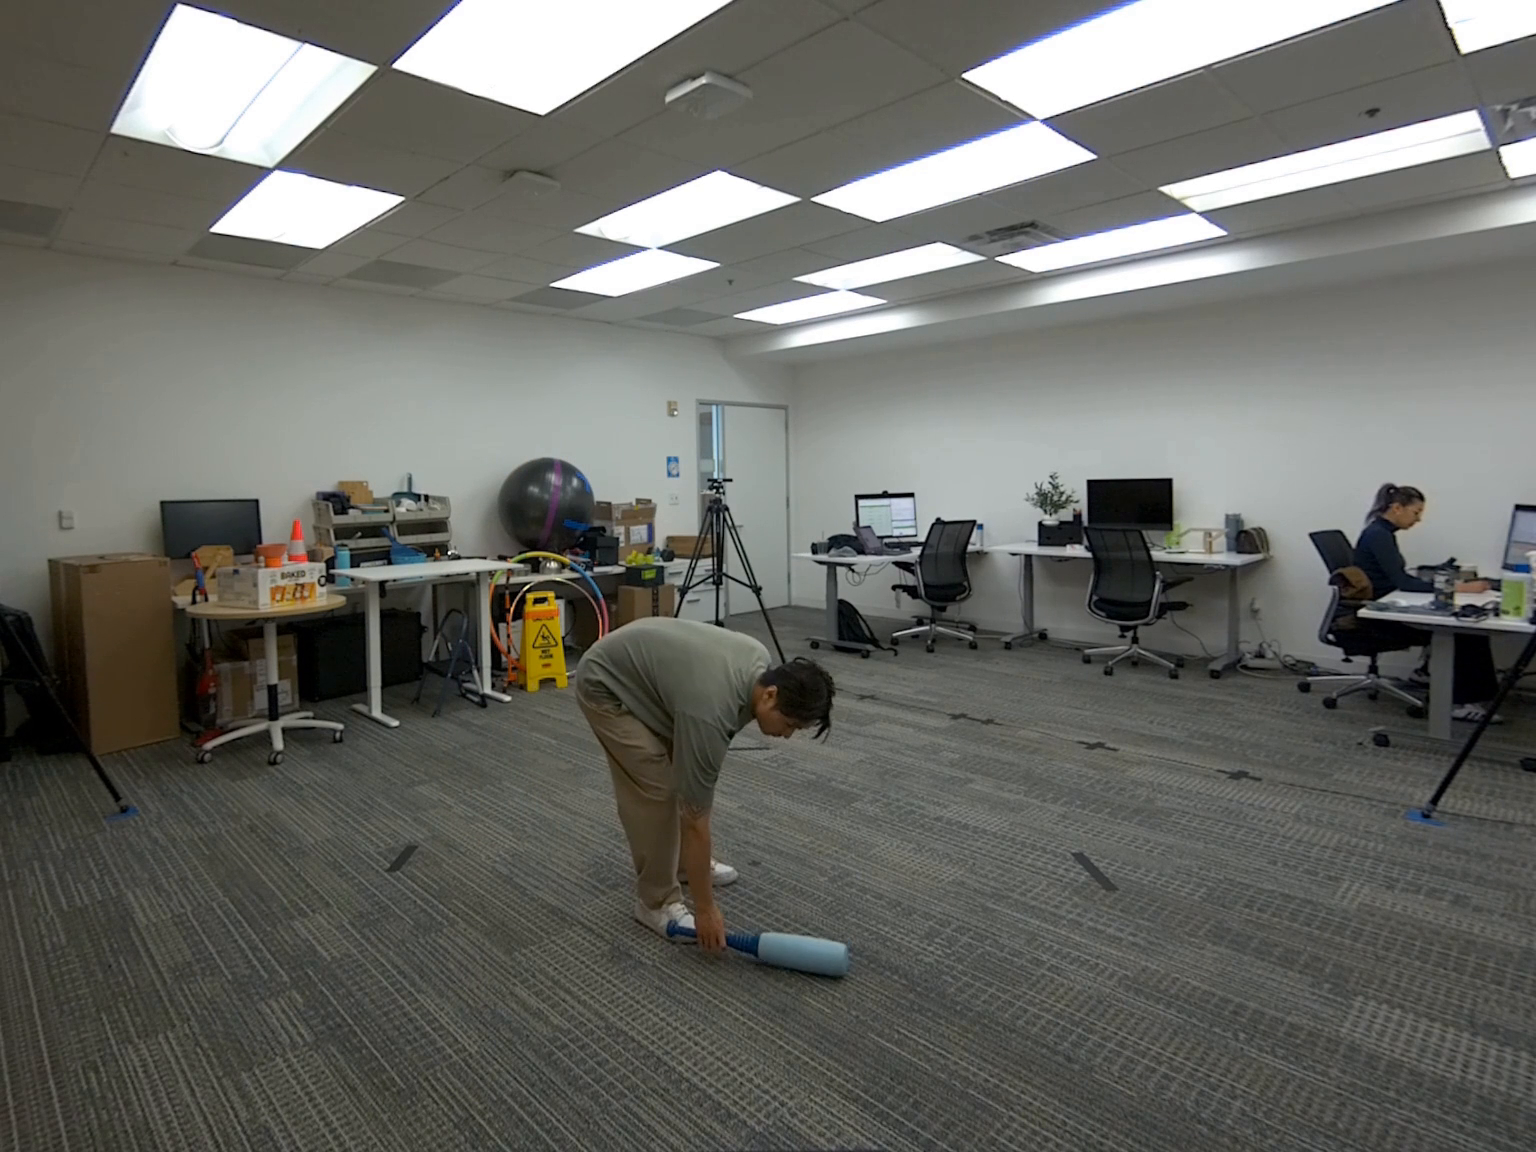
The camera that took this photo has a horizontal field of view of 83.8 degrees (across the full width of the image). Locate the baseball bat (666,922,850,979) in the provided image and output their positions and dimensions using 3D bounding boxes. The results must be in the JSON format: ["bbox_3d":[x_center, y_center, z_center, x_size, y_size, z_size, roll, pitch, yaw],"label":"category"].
[{"bbox_3d":[-0.033,1.062,2.473,0.552,0.089,0.088,1,5,17],"label":"baseball bat"}]
